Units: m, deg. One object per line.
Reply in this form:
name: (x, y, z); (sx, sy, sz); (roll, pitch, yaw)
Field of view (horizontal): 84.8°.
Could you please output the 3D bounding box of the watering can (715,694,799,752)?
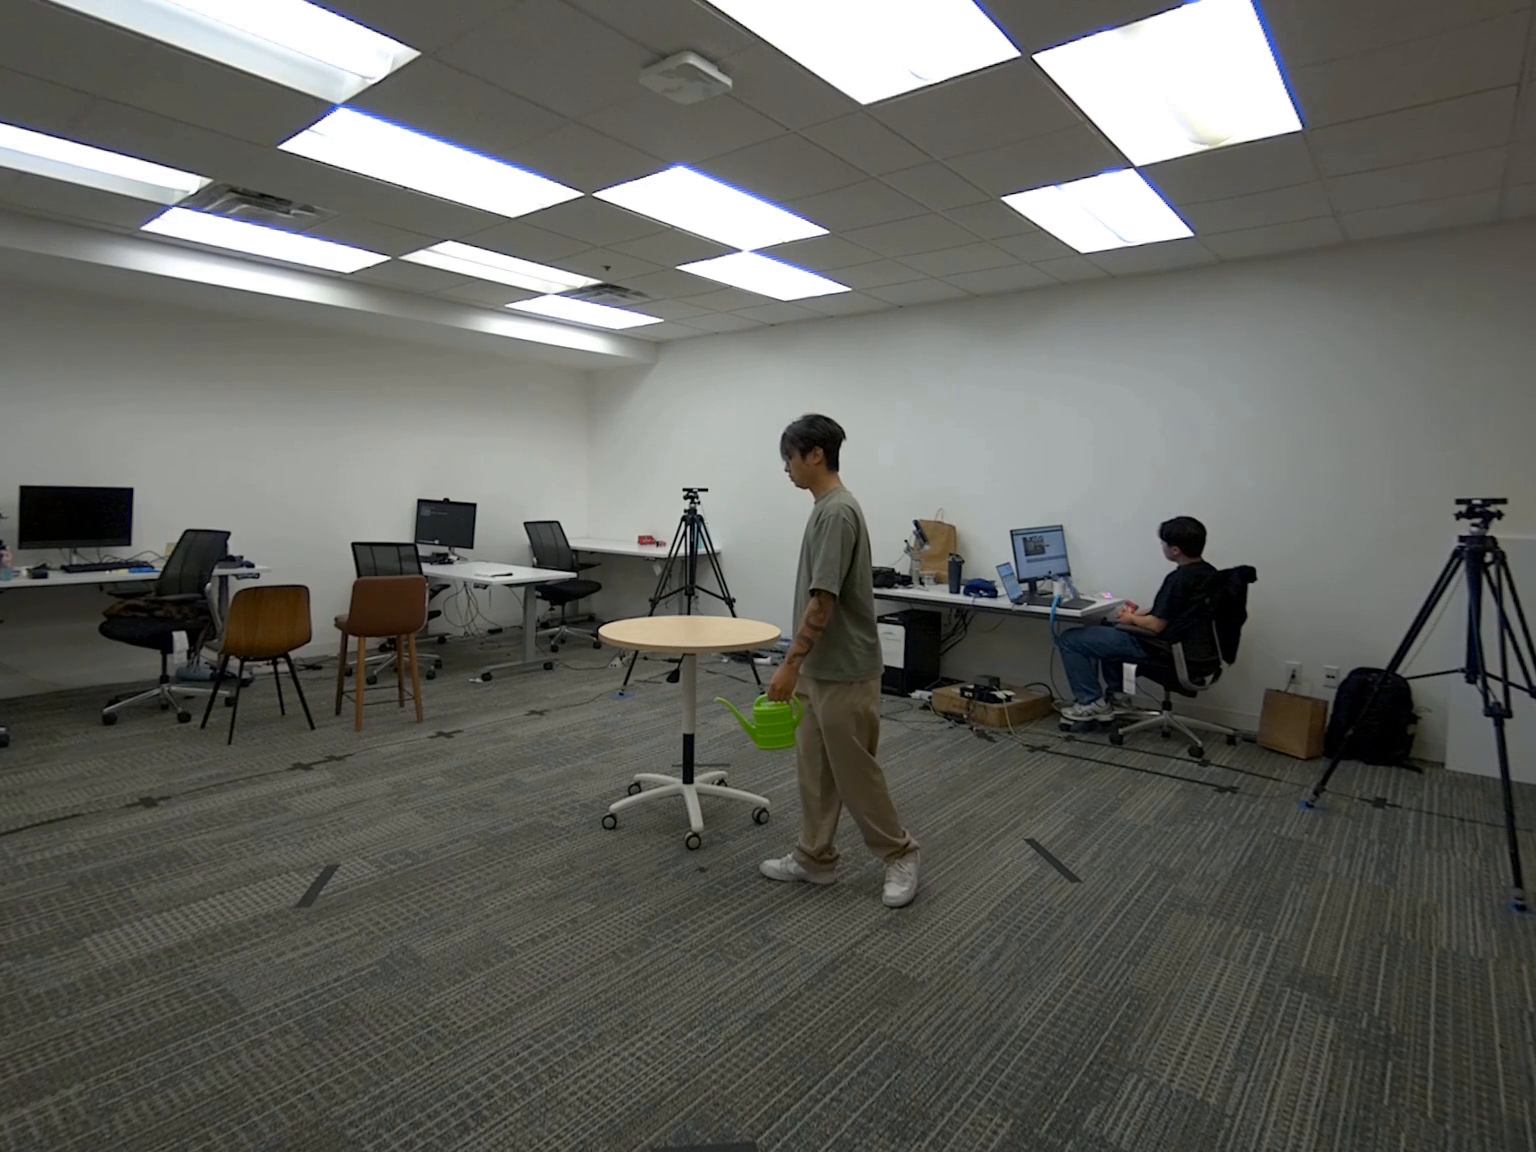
watering can: (-0.028, 0.464, 2.783); (0.281, 0.177, 0.097); (-4, 1, 12)
